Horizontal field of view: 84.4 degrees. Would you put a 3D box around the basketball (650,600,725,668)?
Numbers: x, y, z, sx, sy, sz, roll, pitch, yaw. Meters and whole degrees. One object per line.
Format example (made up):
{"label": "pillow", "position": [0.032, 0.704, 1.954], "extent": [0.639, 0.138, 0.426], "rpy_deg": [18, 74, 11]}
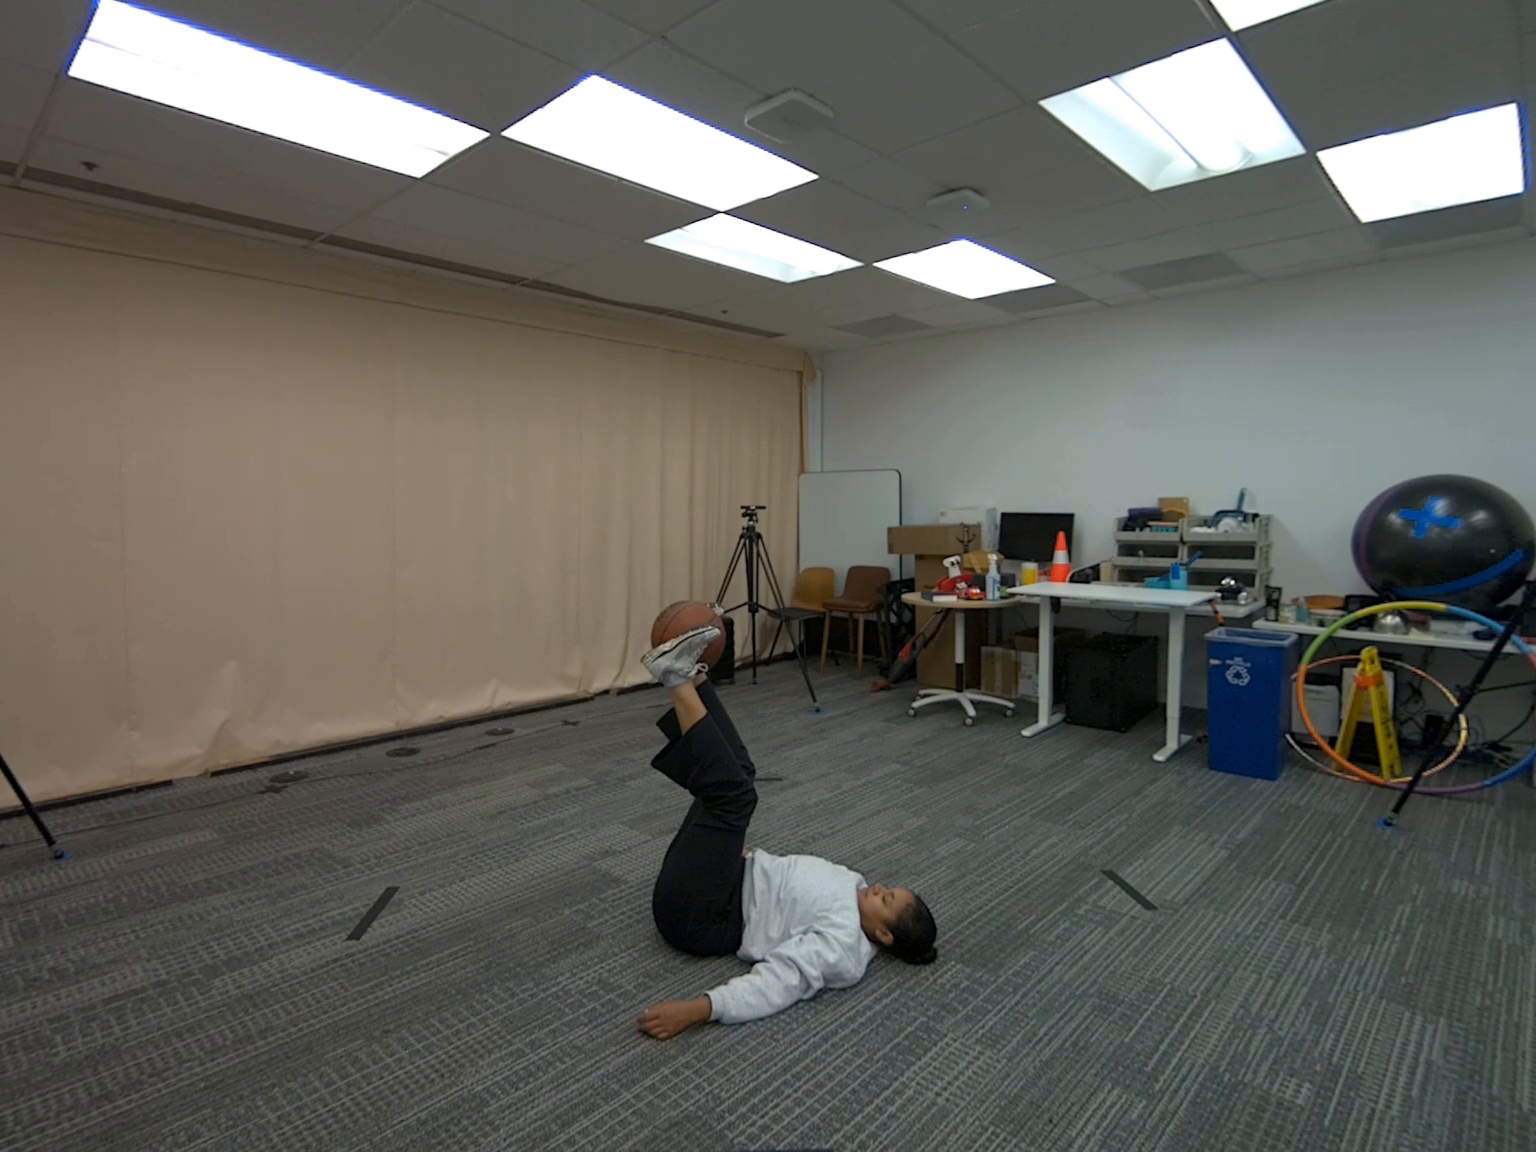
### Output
{"label": "basketball", "position": [-0.260, 0.198, 2.684], "extent": [0.236, 0.236, 0.236], "rpy_deg": [2, 0, -2]}
